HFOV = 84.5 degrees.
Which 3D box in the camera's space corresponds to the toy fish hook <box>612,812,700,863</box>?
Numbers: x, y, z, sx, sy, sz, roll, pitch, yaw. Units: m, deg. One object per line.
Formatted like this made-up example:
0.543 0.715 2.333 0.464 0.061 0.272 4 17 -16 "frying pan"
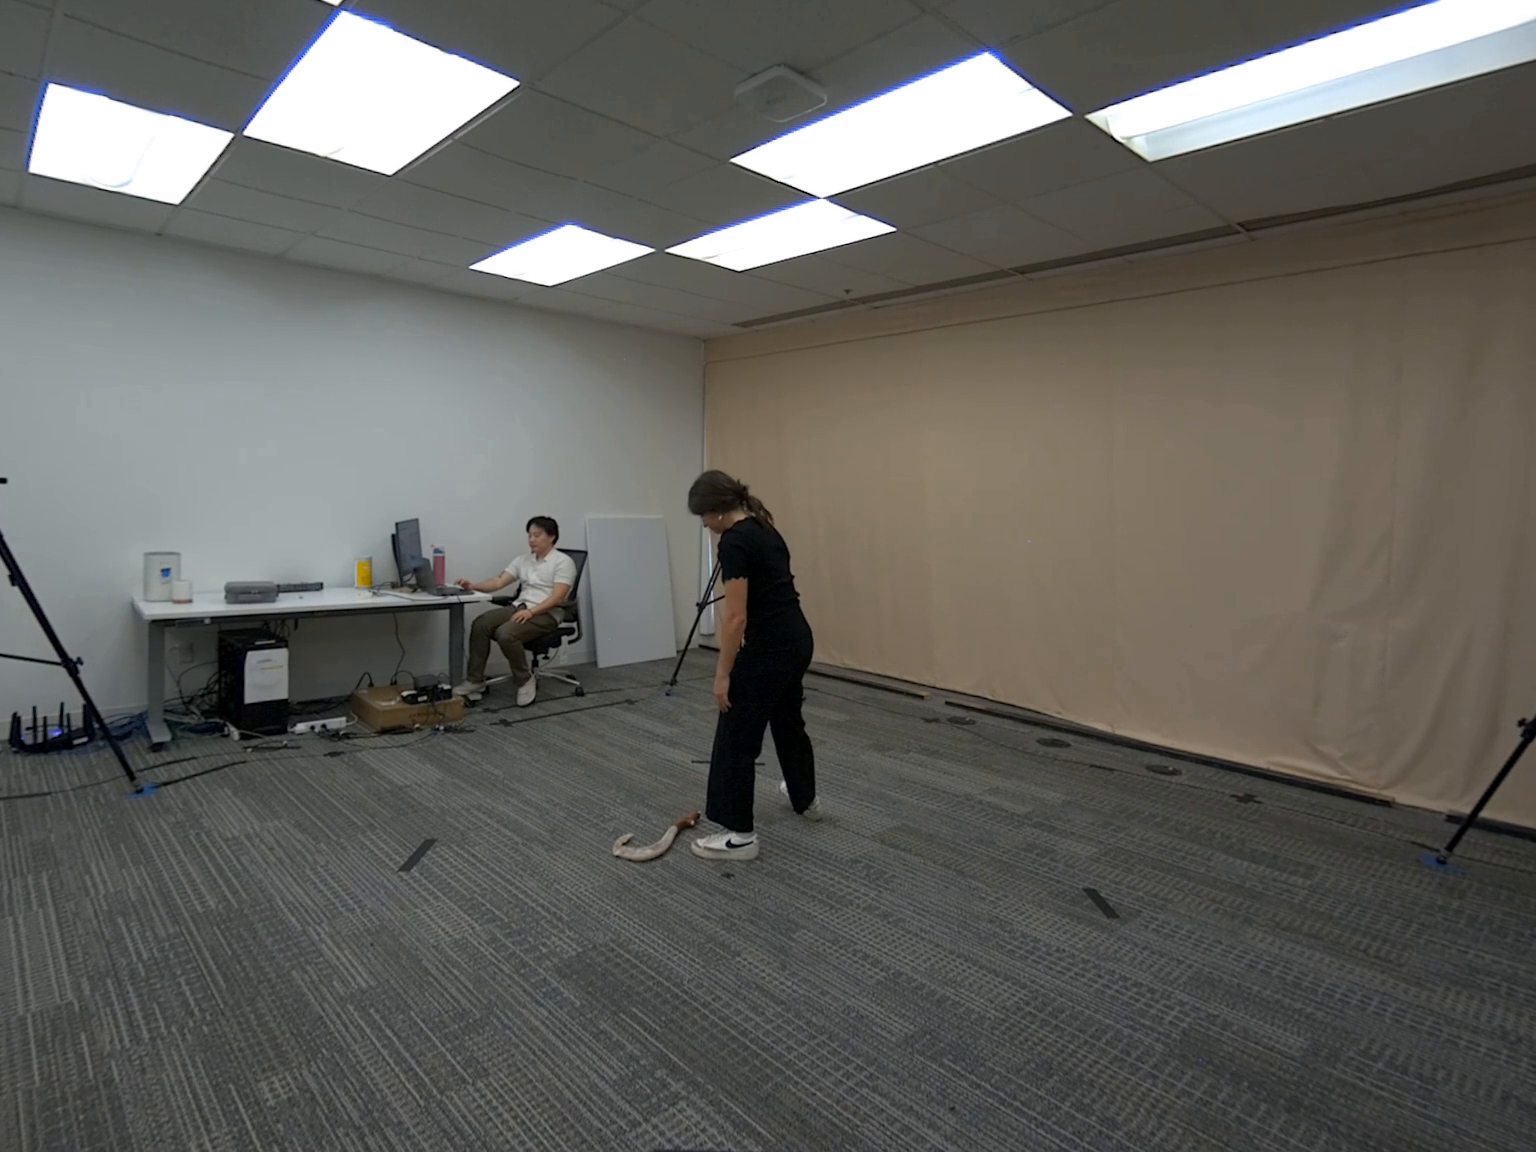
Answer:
-0.460 1.046 3.438 0.229 0.048 0.499 5 6 23 "toy fish hook"
